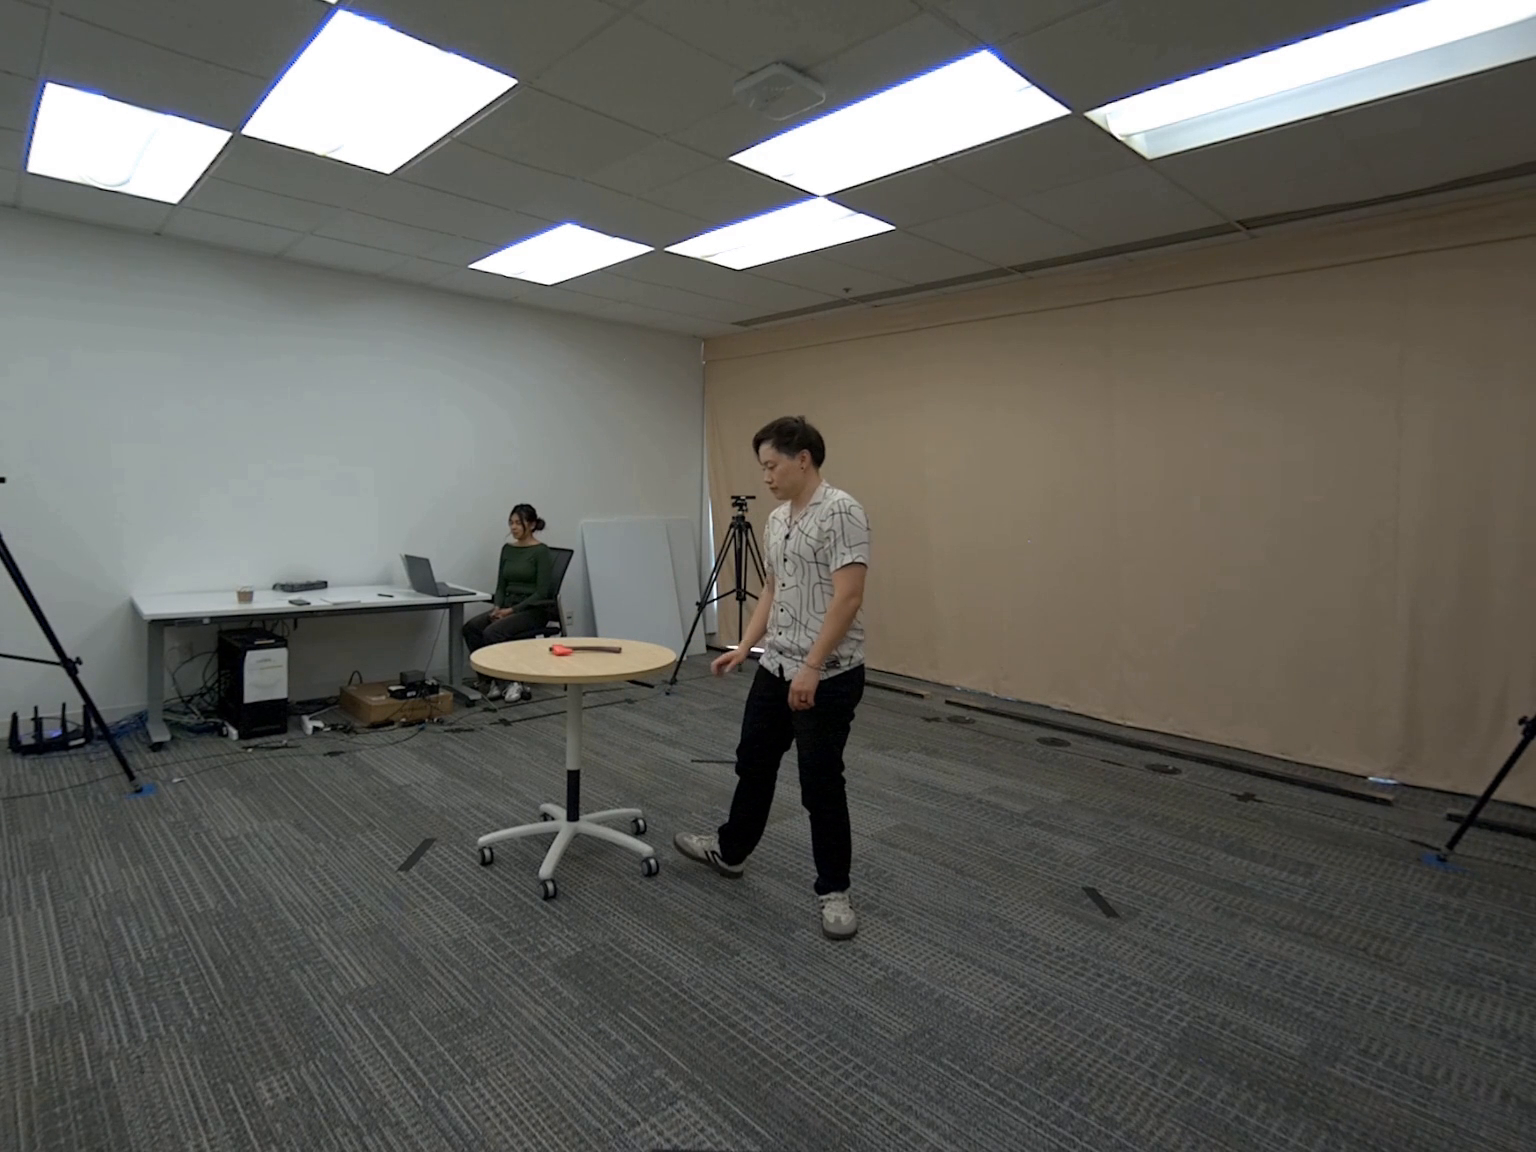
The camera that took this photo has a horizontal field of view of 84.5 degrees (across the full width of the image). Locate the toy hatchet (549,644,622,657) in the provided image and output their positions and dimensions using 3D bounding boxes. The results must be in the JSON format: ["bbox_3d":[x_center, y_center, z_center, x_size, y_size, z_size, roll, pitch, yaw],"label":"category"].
[{"bbox_3d":[-0.703,0.284,3.207,0.270,0.029,0.131,3,7,-1],"label":"toy hatchet"}]
